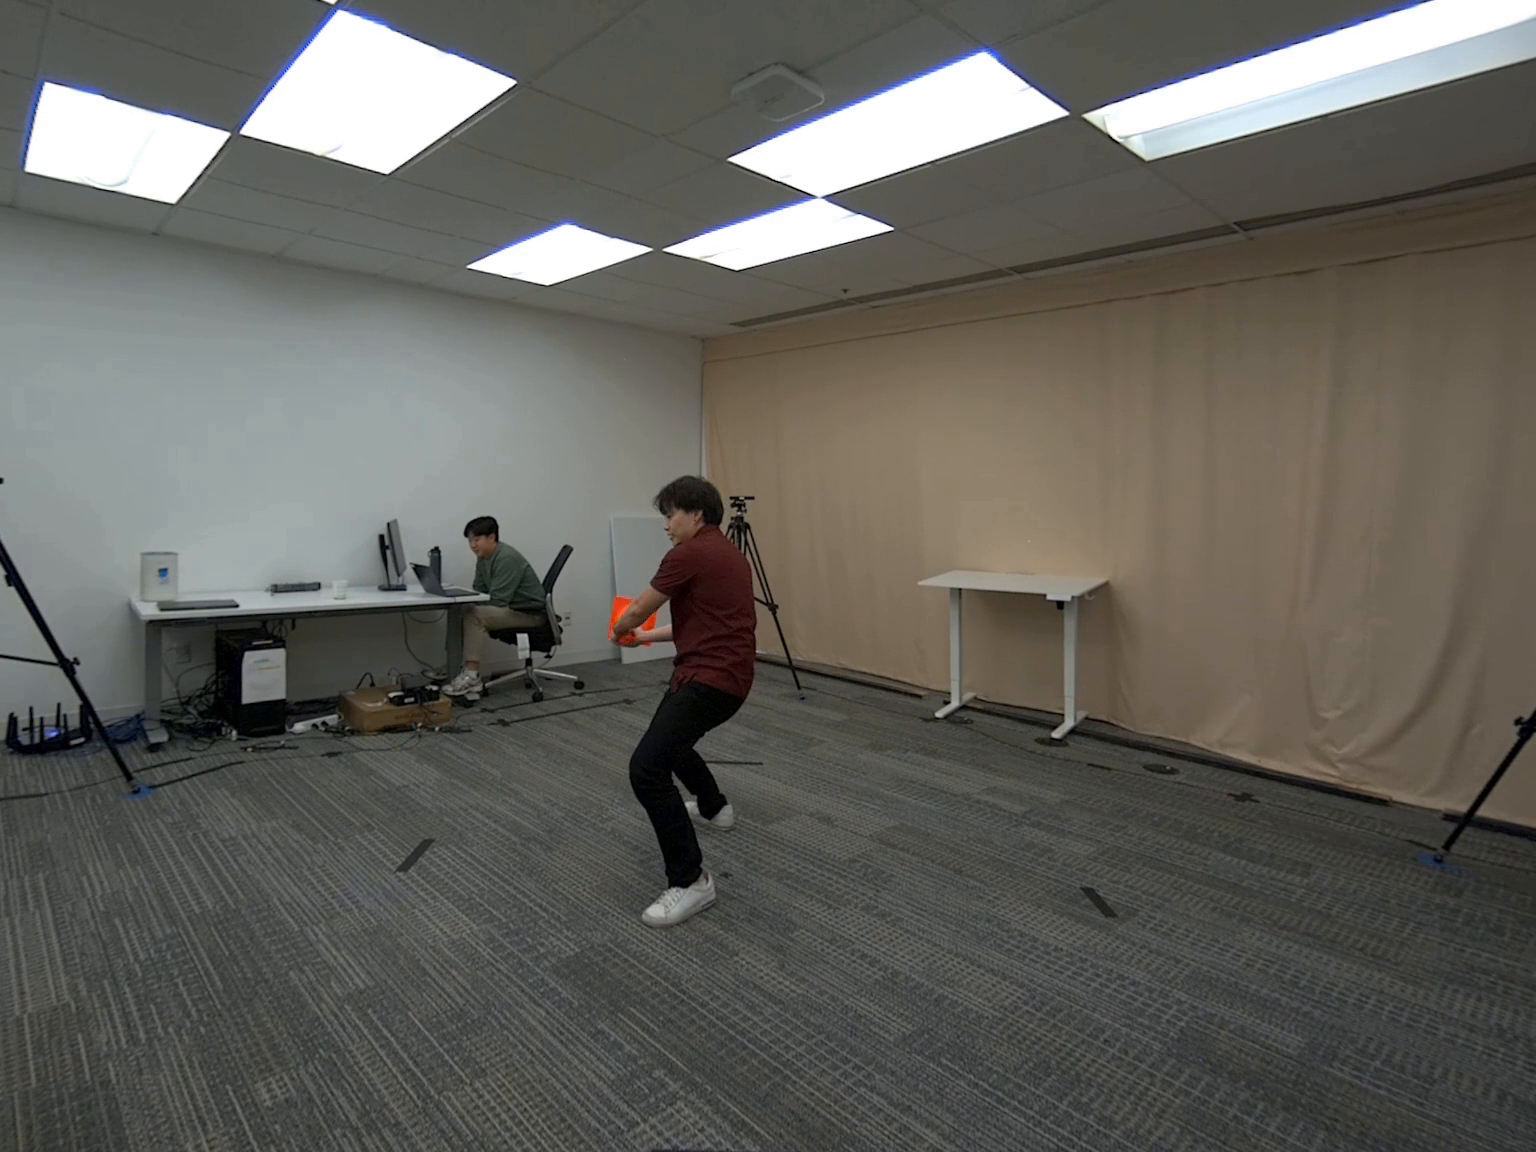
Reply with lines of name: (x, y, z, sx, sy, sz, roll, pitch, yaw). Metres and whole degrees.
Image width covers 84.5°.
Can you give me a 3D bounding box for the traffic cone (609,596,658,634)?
traffic cone: (-0.604, 0.237, 3.543, 0.203, 0.204, 0.386, 11, 10, -4)
